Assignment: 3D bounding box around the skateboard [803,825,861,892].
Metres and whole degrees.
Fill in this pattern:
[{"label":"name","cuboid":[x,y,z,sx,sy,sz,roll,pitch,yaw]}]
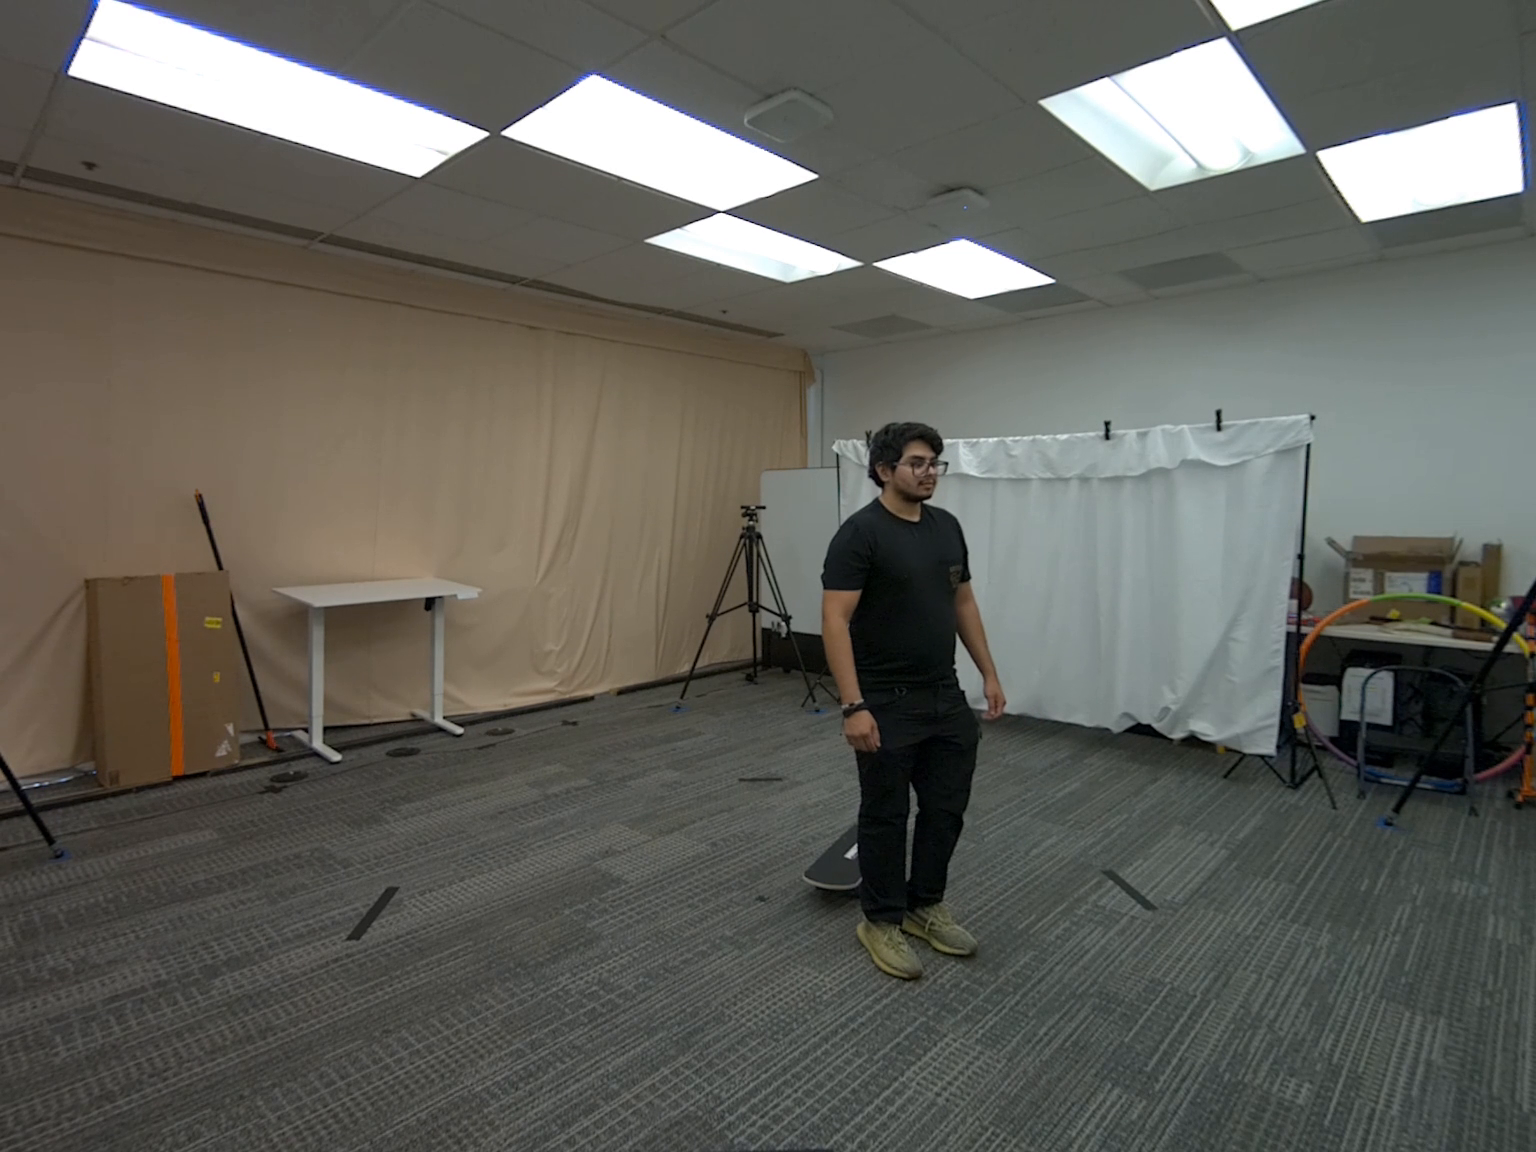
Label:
[{"label":"skateboard","cuboid":[0.350,1.066,3.197,0.199,0.110,0.766,3,6,26]}]
